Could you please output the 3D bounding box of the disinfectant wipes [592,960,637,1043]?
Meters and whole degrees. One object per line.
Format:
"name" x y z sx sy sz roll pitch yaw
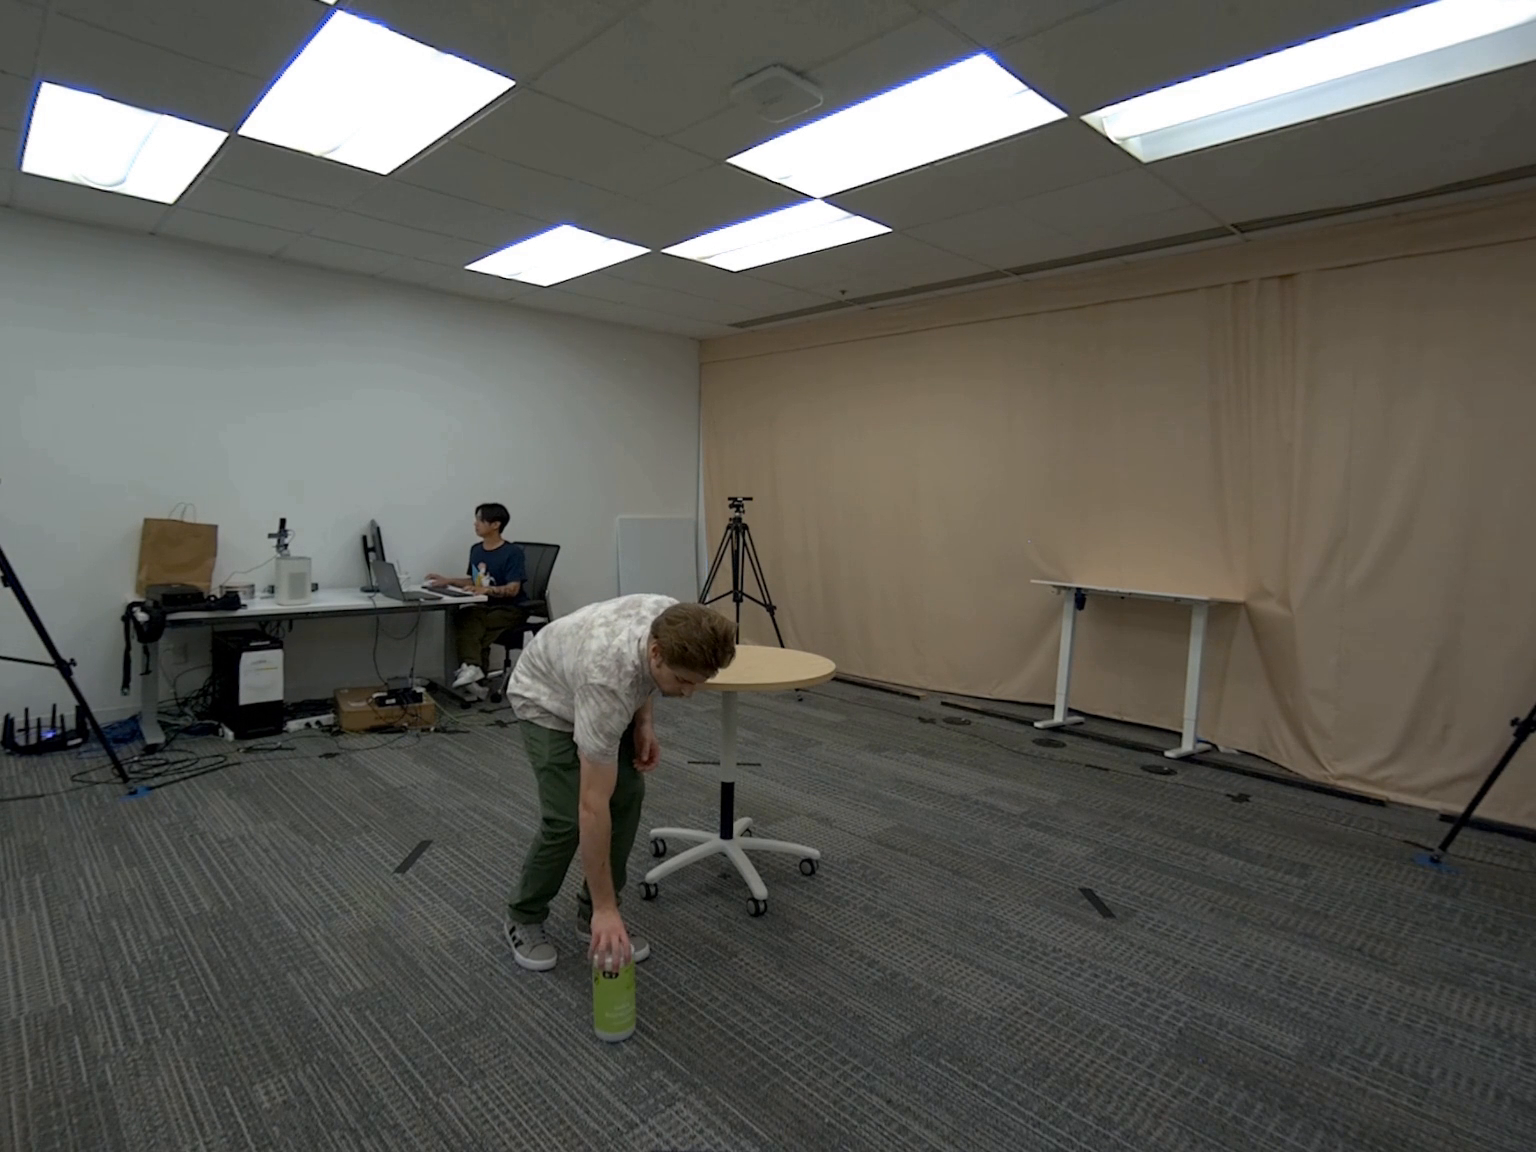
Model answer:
"disinfectant wipes" -0.398 1.063 2.190 0.118 0.217 0.118 1 1 -1
